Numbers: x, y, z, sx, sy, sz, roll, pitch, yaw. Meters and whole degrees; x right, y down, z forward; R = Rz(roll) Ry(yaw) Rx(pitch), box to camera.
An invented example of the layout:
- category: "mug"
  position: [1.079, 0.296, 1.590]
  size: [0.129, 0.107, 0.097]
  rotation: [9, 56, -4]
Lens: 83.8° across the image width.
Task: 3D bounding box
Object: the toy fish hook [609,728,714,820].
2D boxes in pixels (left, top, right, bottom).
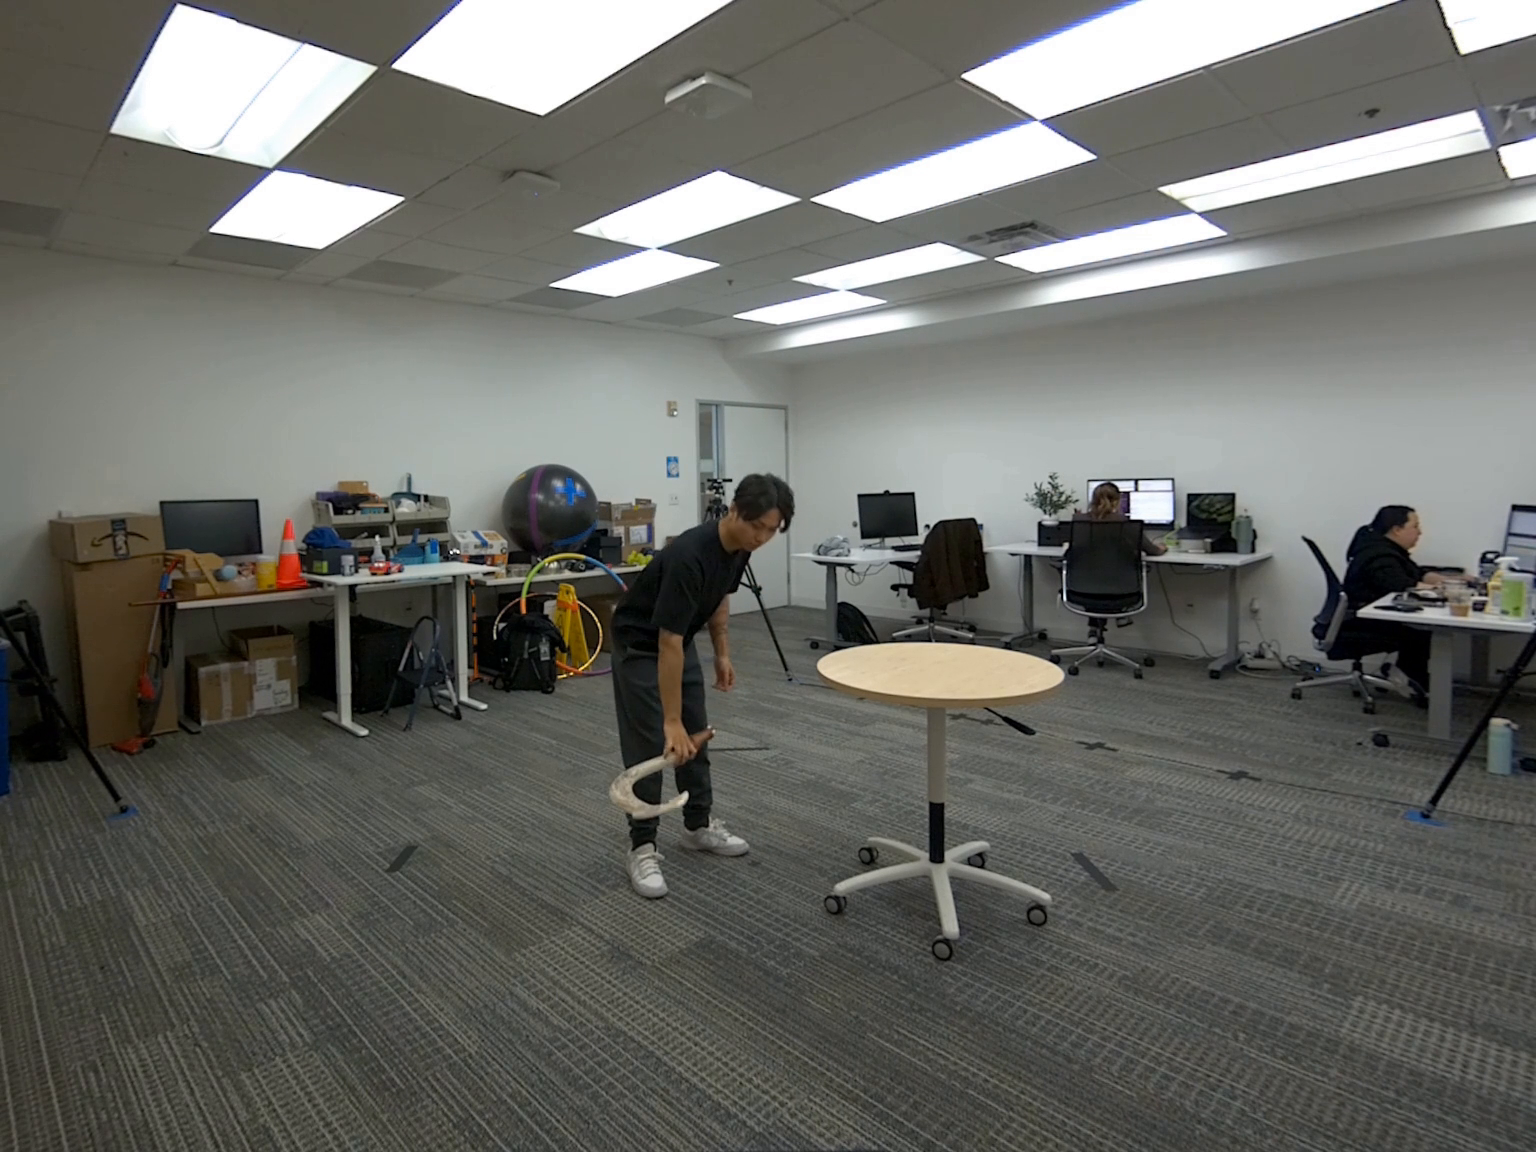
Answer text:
- category: "toy fish hook"
  position: [-0.281, 0.629, 2.704]
  size: [0.231, 0.047, 0.500]
  rotation: [23, 30, 25]
